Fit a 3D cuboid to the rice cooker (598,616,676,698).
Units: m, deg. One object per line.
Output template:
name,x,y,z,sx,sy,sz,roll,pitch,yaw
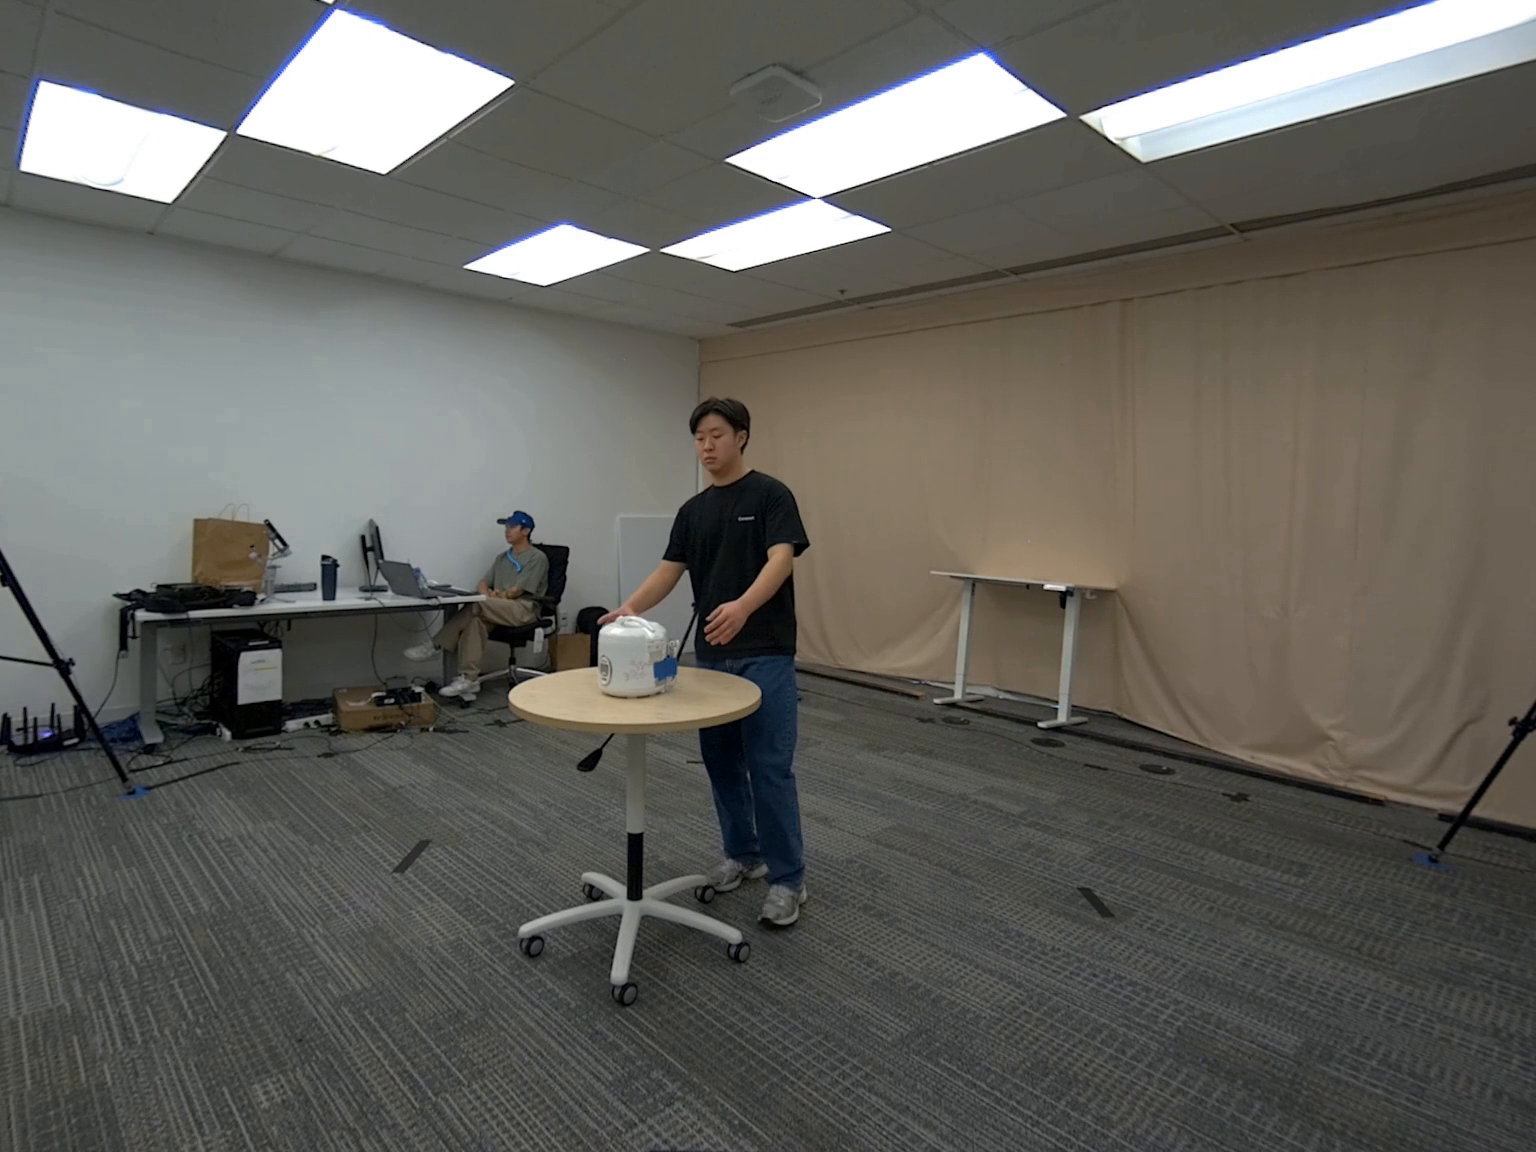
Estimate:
rice cooker,-0.419,0.241,2.559,0.226,0.232,0.212,4,4,43
